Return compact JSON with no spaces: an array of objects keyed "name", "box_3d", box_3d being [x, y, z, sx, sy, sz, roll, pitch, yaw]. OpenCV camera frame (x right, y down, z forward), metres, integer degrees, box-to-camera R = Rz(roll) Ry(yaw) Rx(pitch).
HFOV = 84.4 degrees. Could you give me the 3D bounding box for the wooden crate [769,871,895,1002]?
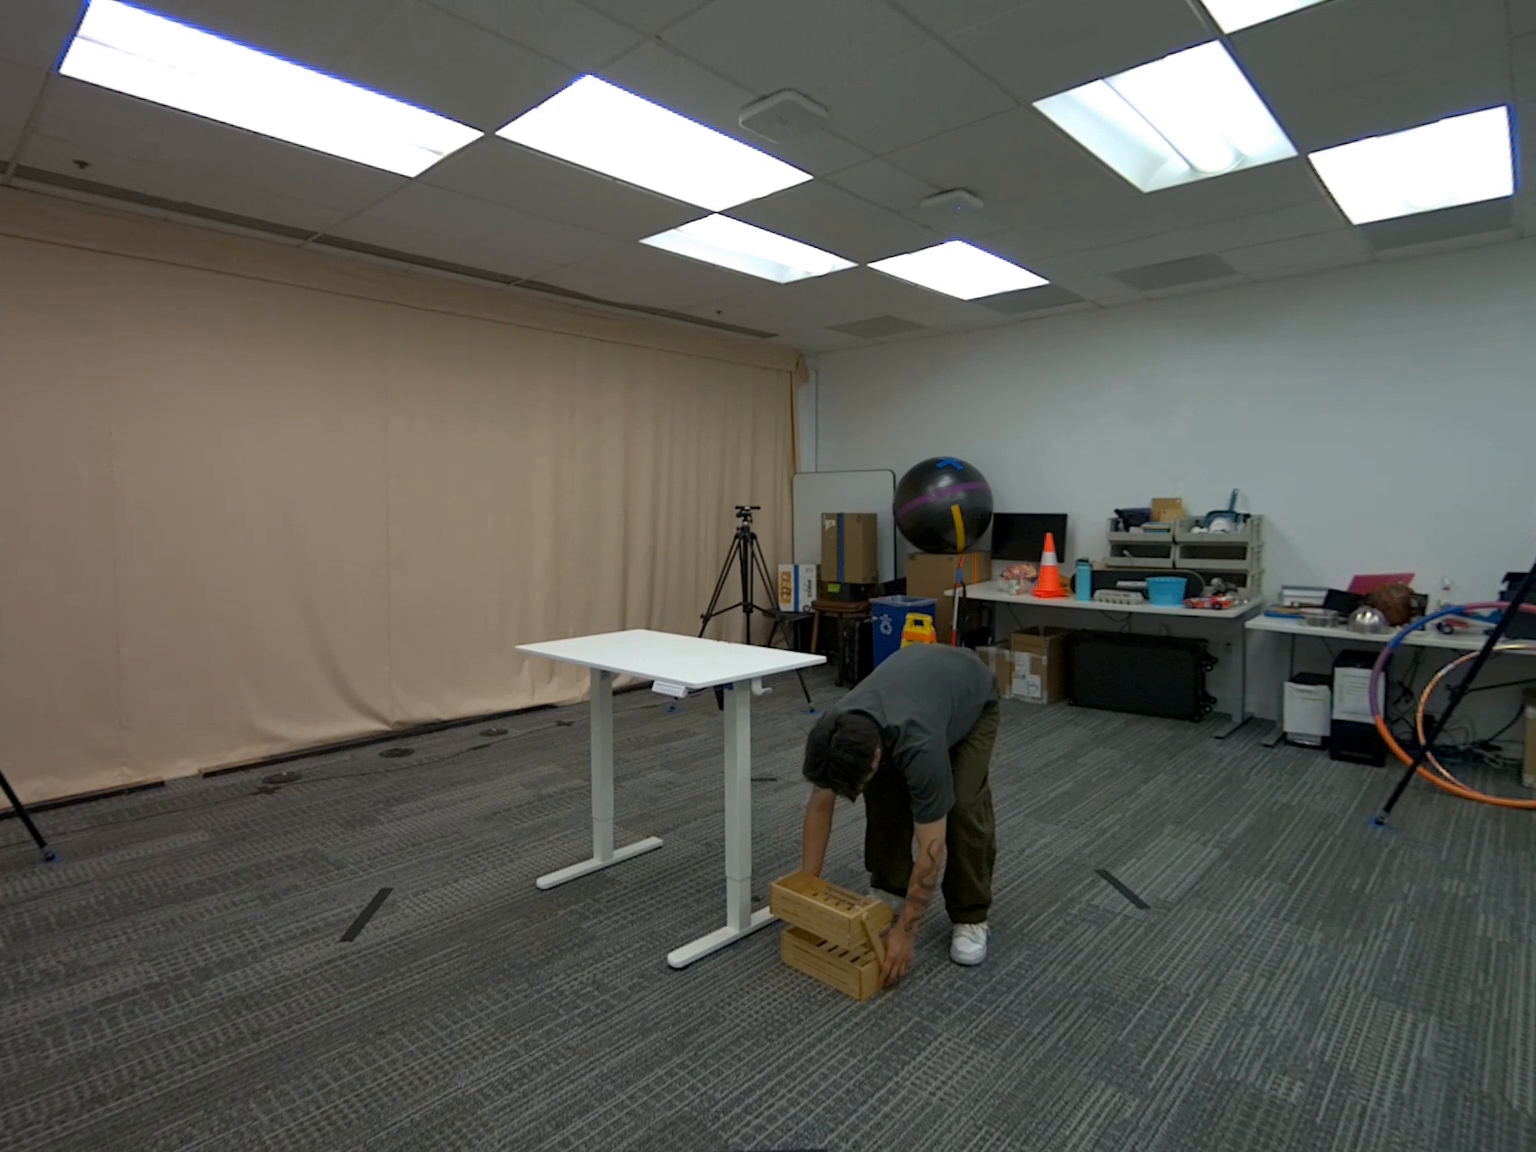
[{"name":"wooden crate","box_3d":[0.224,1.052,2.532,0.335,0.272,0.293,4,6,44]}]
